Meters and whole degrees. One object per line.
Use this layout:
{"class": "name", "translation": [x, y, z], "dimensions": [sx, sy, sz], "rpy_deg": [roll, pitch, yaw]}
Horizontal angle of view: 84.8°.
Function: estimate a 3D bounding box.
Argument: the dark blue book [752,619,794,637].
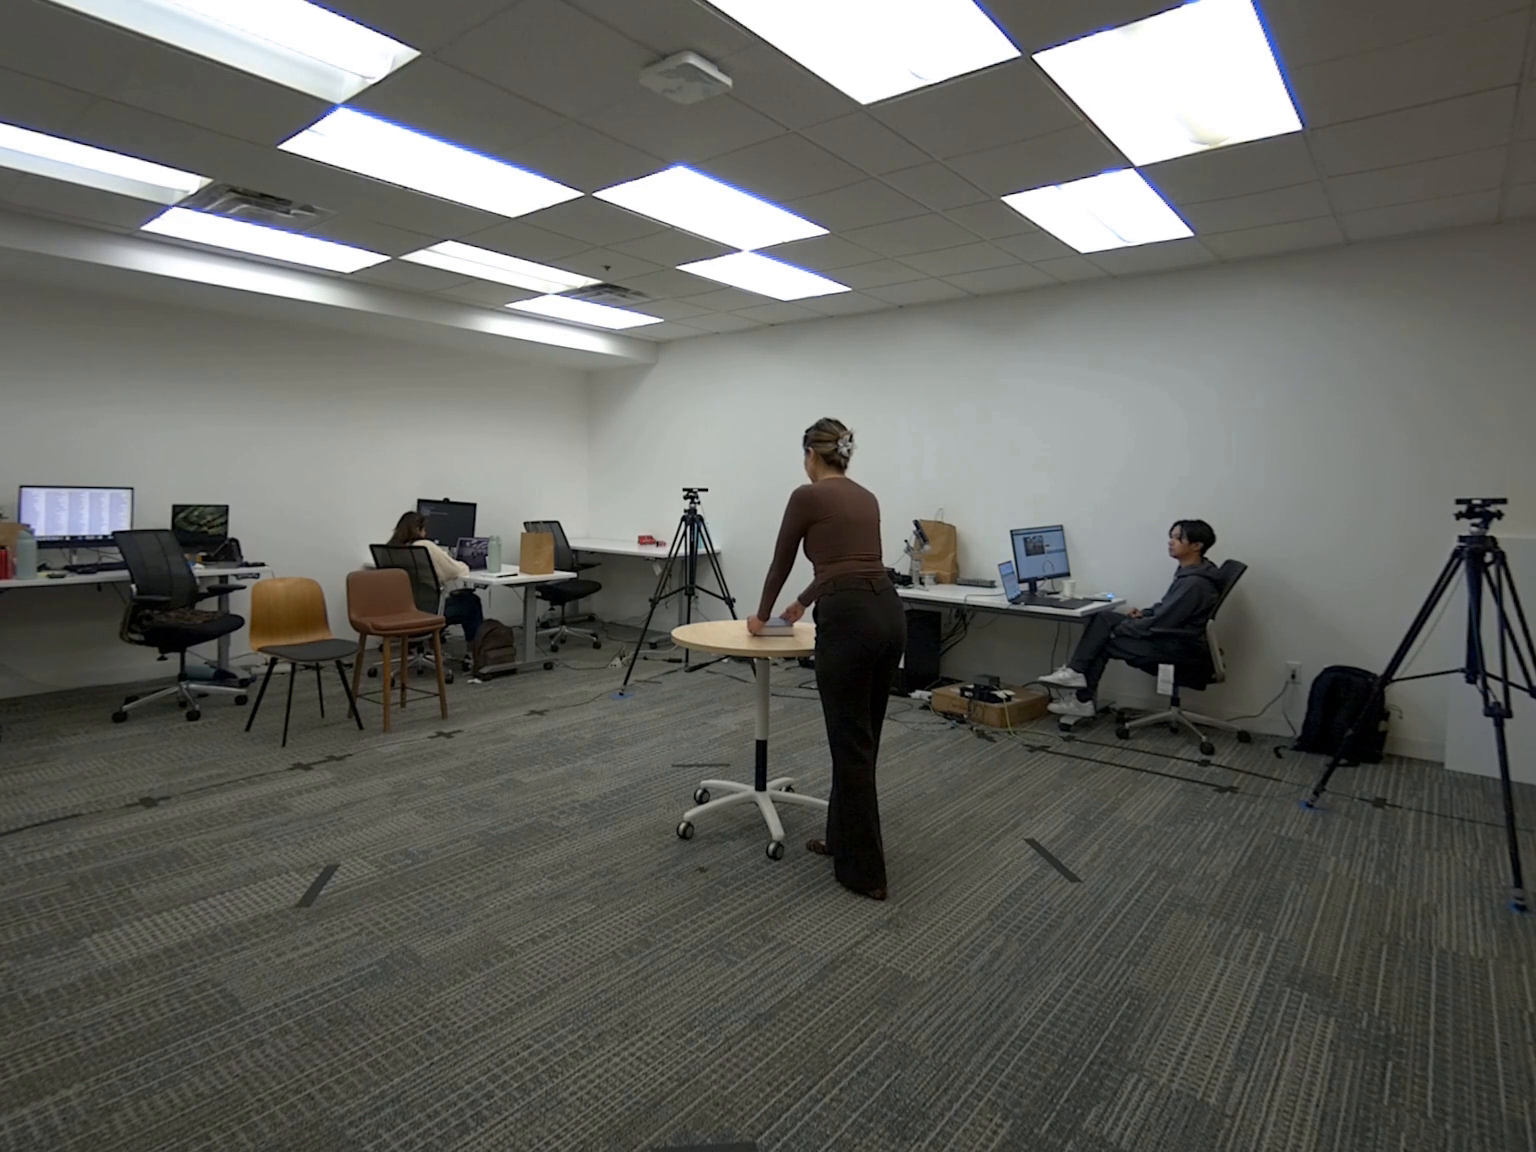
{"class": "dark blue book", "translation": [-0.007, 0.211, 3.576], "dimensions": [0.162, 0.045, 0.248], "rpy_deg": [0, 5, -7]}
